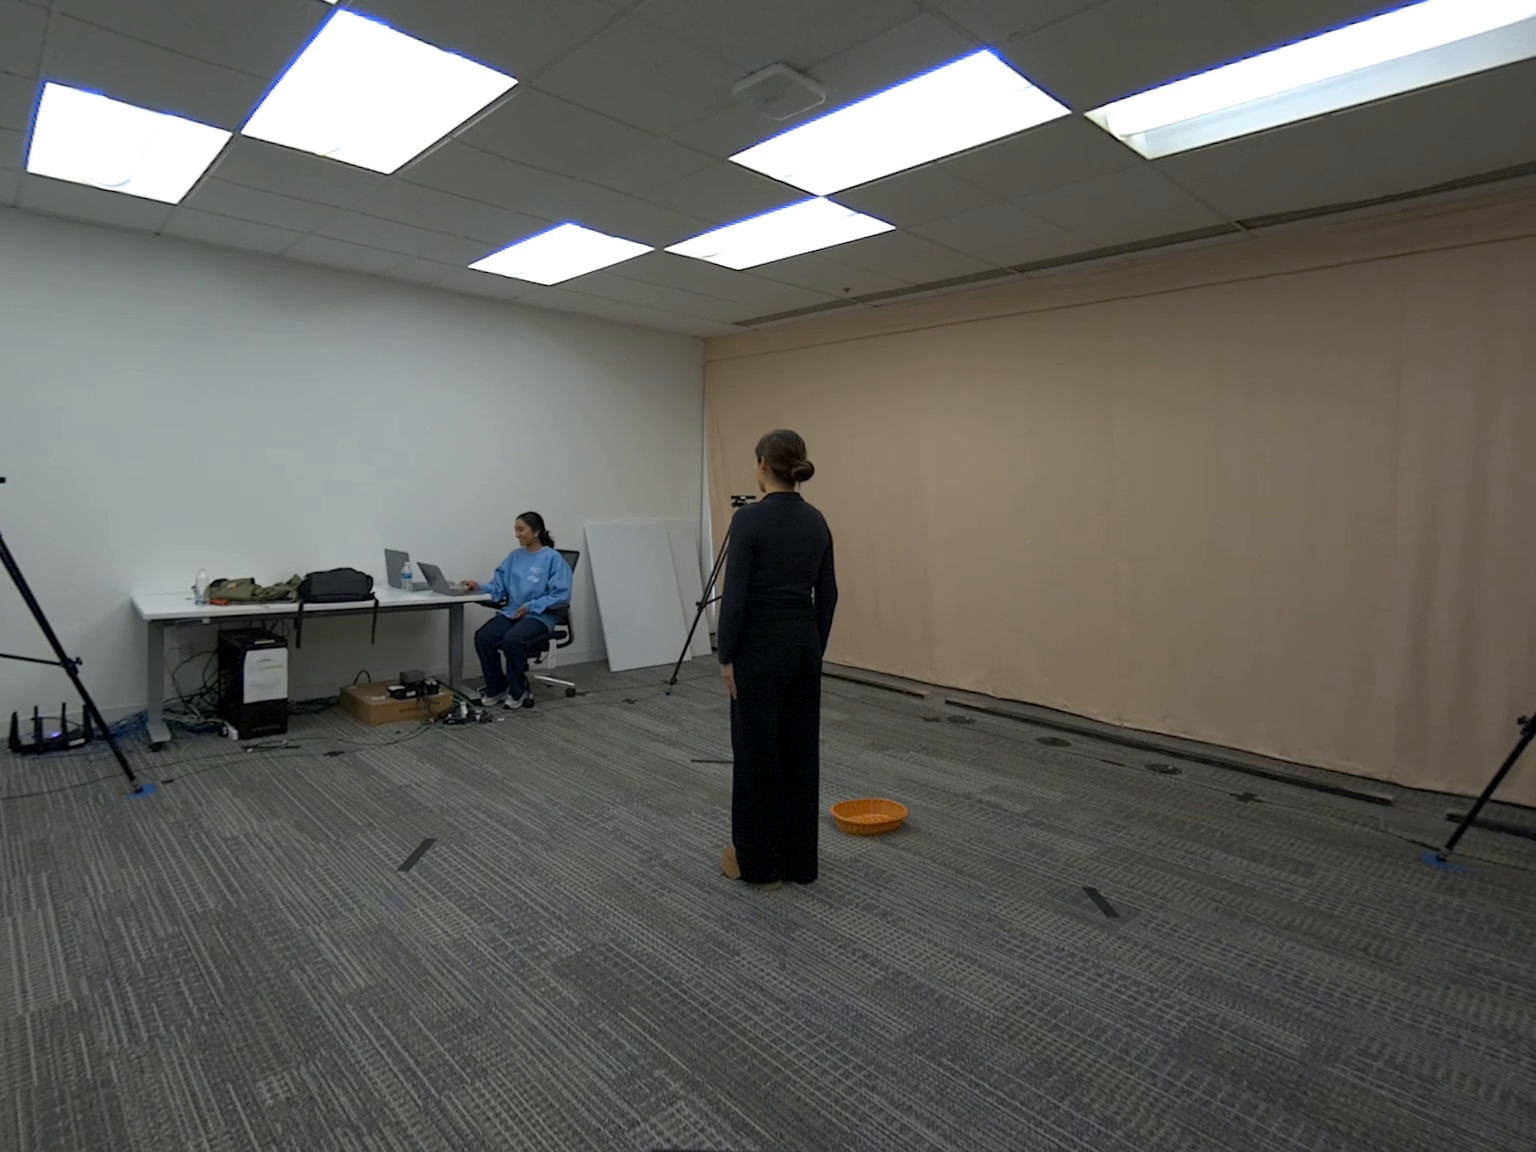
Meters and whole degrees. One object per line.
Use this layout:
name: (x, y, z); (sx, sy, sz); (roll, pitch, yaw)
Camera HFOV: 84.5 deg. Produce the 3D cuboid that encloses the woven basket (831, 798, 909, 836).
woven basket: (0.419, 1.029, 3.610); (0.345, 0.073, 0.257); (-1, 6, -21)
